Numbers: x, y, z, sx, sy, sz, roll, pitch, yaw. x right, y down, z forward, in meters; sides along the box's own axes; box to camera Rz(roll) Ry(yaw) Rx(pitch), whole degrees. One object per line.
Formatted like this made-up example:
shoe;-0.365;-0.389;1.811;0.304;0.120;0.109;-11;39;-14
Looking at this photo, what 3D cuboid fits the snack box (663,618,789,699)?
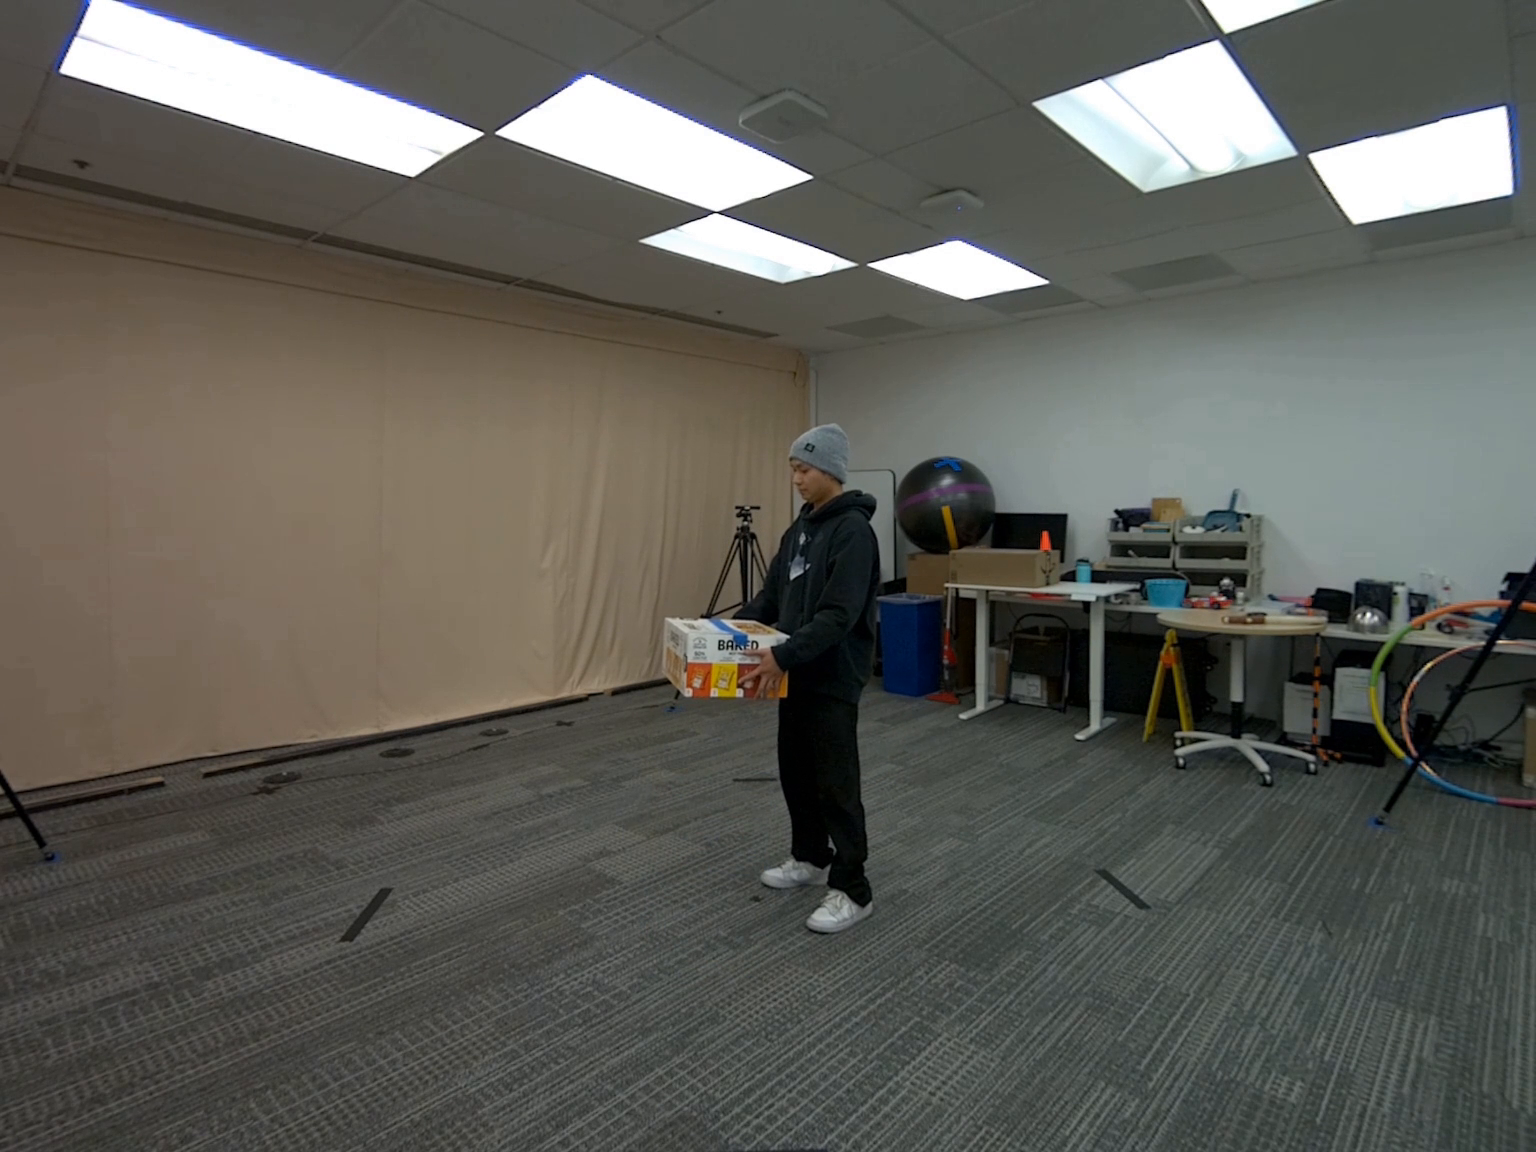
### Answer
snack box;-0.150;0.275;2.874;0.335;0.205;0.412;3;2;-16
